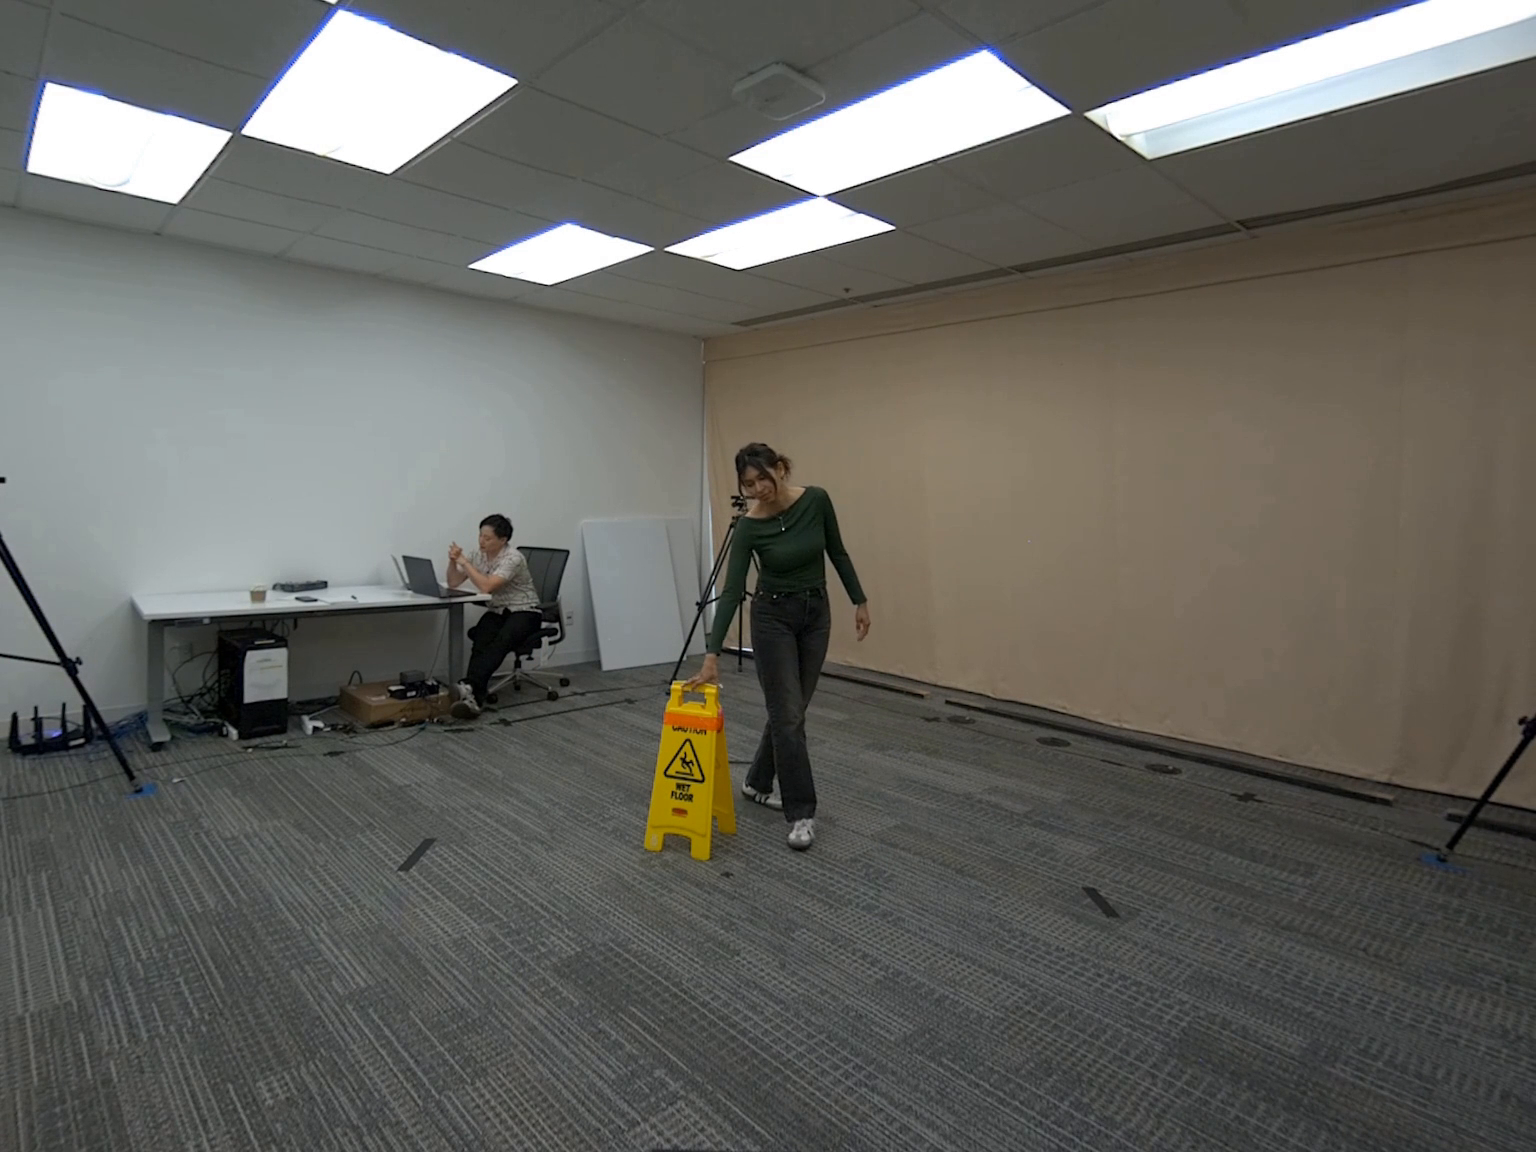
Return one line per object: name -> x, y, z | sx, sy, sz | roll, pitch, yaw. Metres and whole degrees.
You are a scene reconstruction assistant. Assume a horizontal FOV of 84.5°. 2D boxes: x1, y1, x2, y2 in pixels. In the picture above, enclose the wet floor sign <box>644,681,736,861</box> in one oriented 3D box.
wet floor sign -> -0.311, 0.752, 3.383 | 0.287, 0.644, 0.286 | 1, 3, 20
